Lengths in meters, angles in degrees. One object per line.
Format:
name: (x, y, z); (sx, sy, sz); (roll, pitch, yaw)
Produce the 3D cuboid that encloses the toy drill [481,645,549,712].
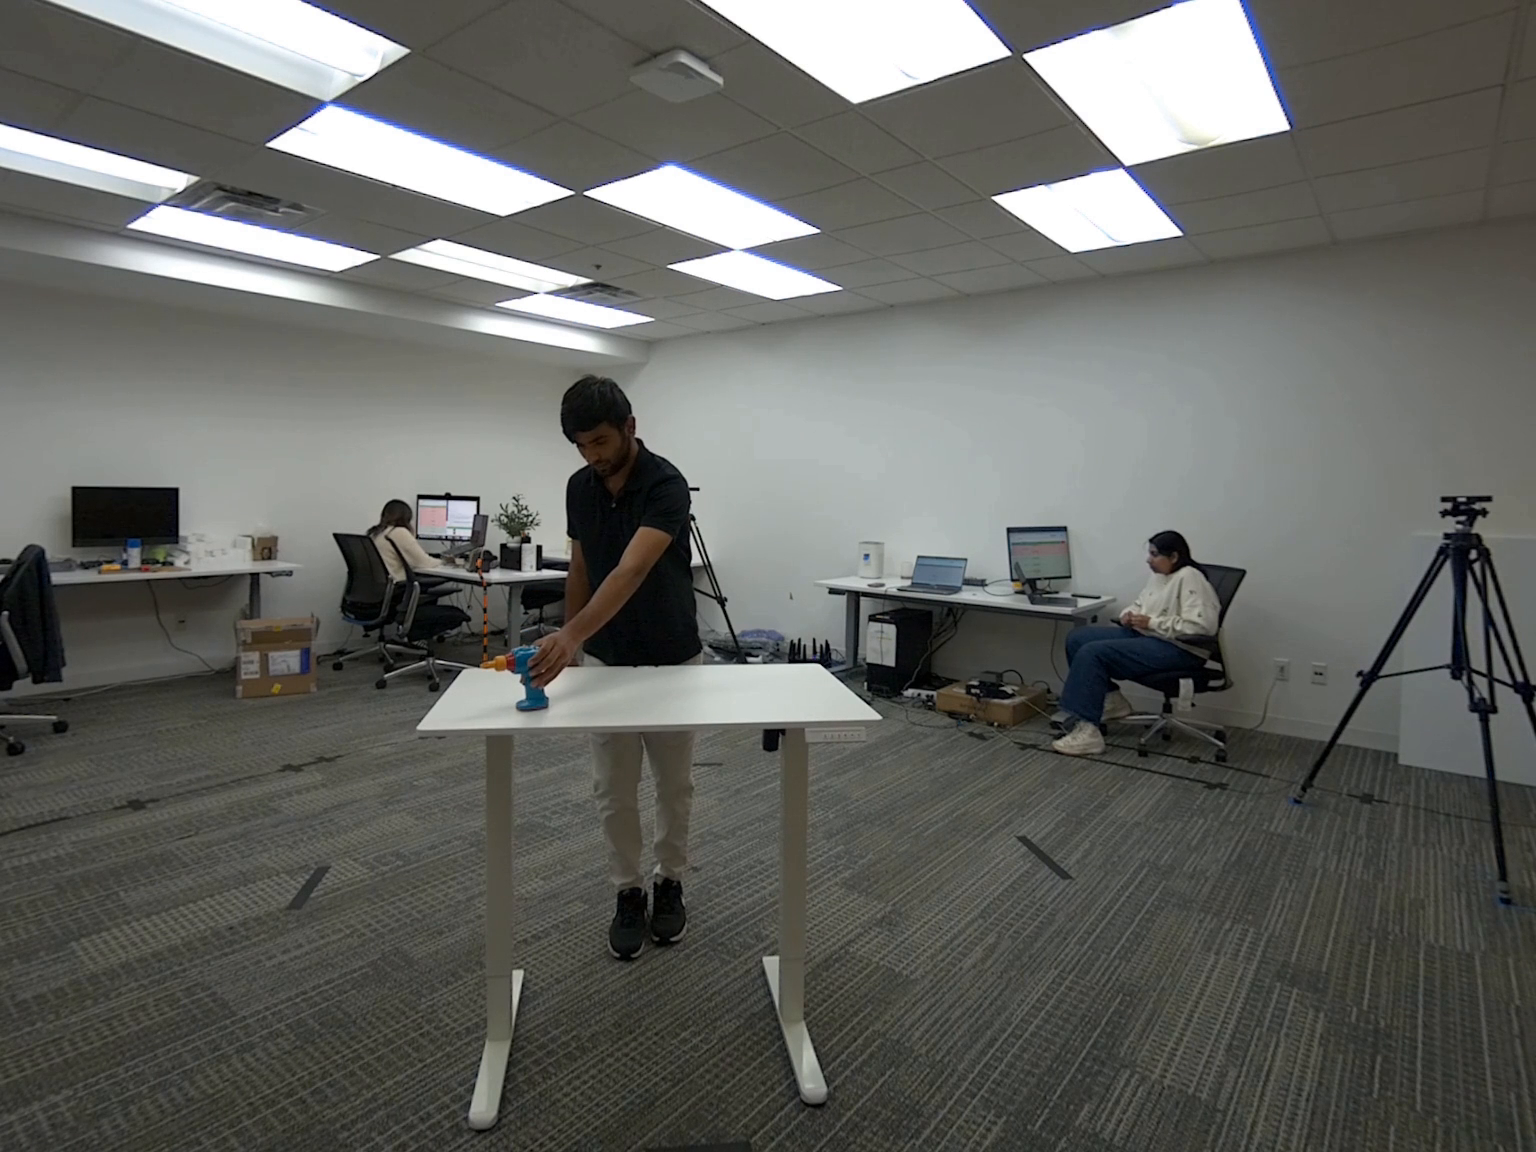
toy drill: (-0.569, 0.228, 1.915); (0.165, 0.145, 0.063); (-4, 5, -39)
